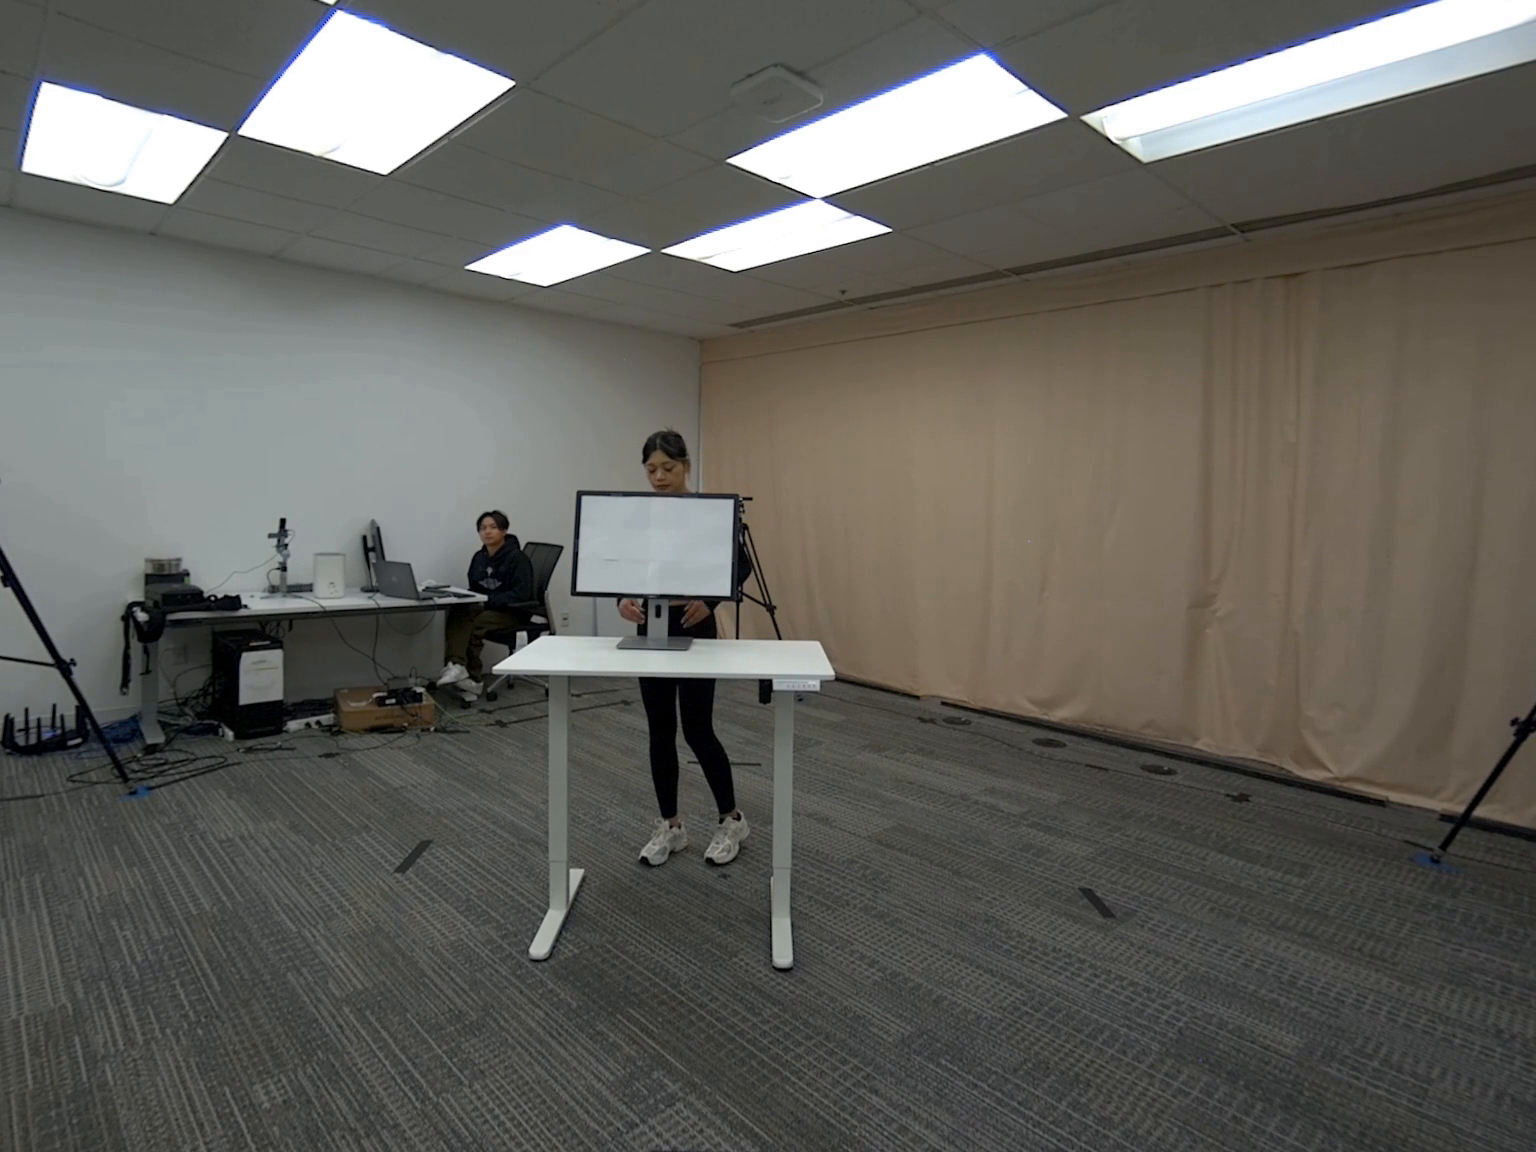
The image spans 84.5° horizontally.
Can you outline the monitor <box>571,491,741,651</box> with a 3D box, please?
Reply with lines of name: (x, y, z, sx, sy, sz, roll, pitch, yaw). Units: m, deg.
monitor: (-0.382, -0.016, 2.885, 0.540, 0.520, 0.187, 1, 5, 3)
